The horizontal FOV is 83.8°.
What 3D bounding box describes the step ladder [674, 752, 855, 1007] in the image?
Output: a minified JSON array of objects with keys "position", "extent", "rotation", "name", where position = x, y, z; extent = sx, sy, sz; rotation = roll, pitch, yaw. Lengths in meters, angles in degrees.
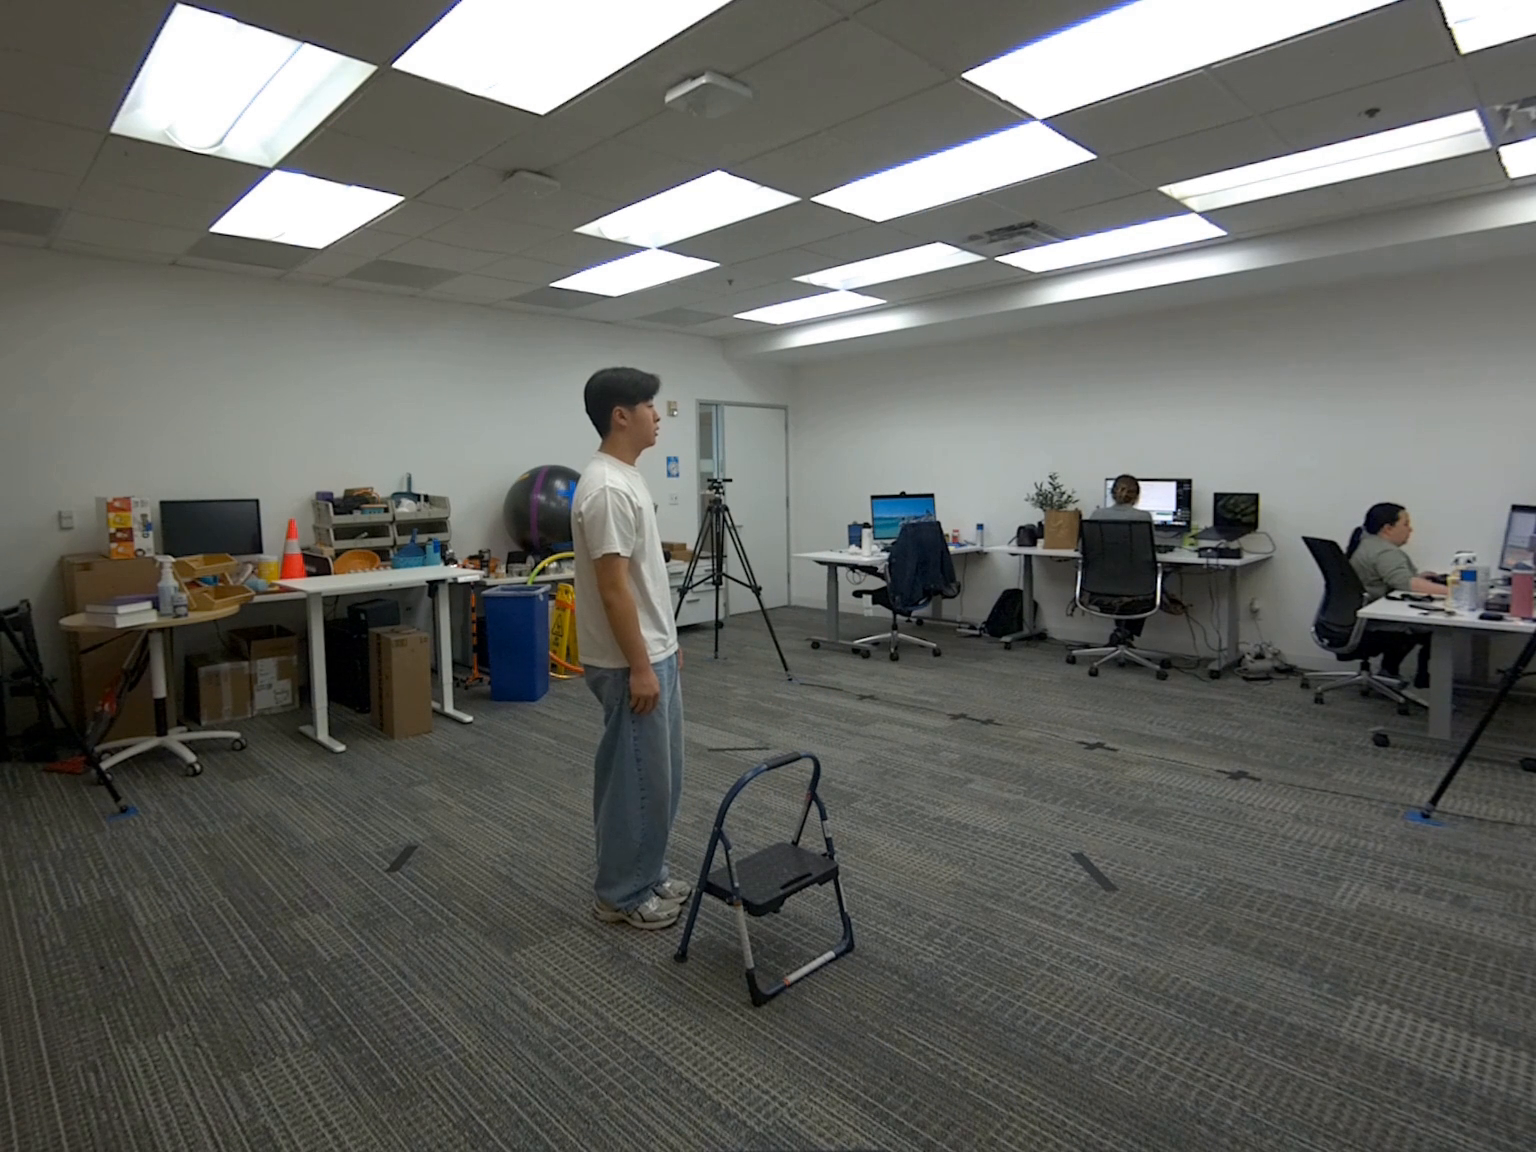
[{"position":[-0.006,0.810,2.497],"extent":[0.419,0.604,0.360],"rotation":[-6,6,-44],"name":"step ladder"}]
